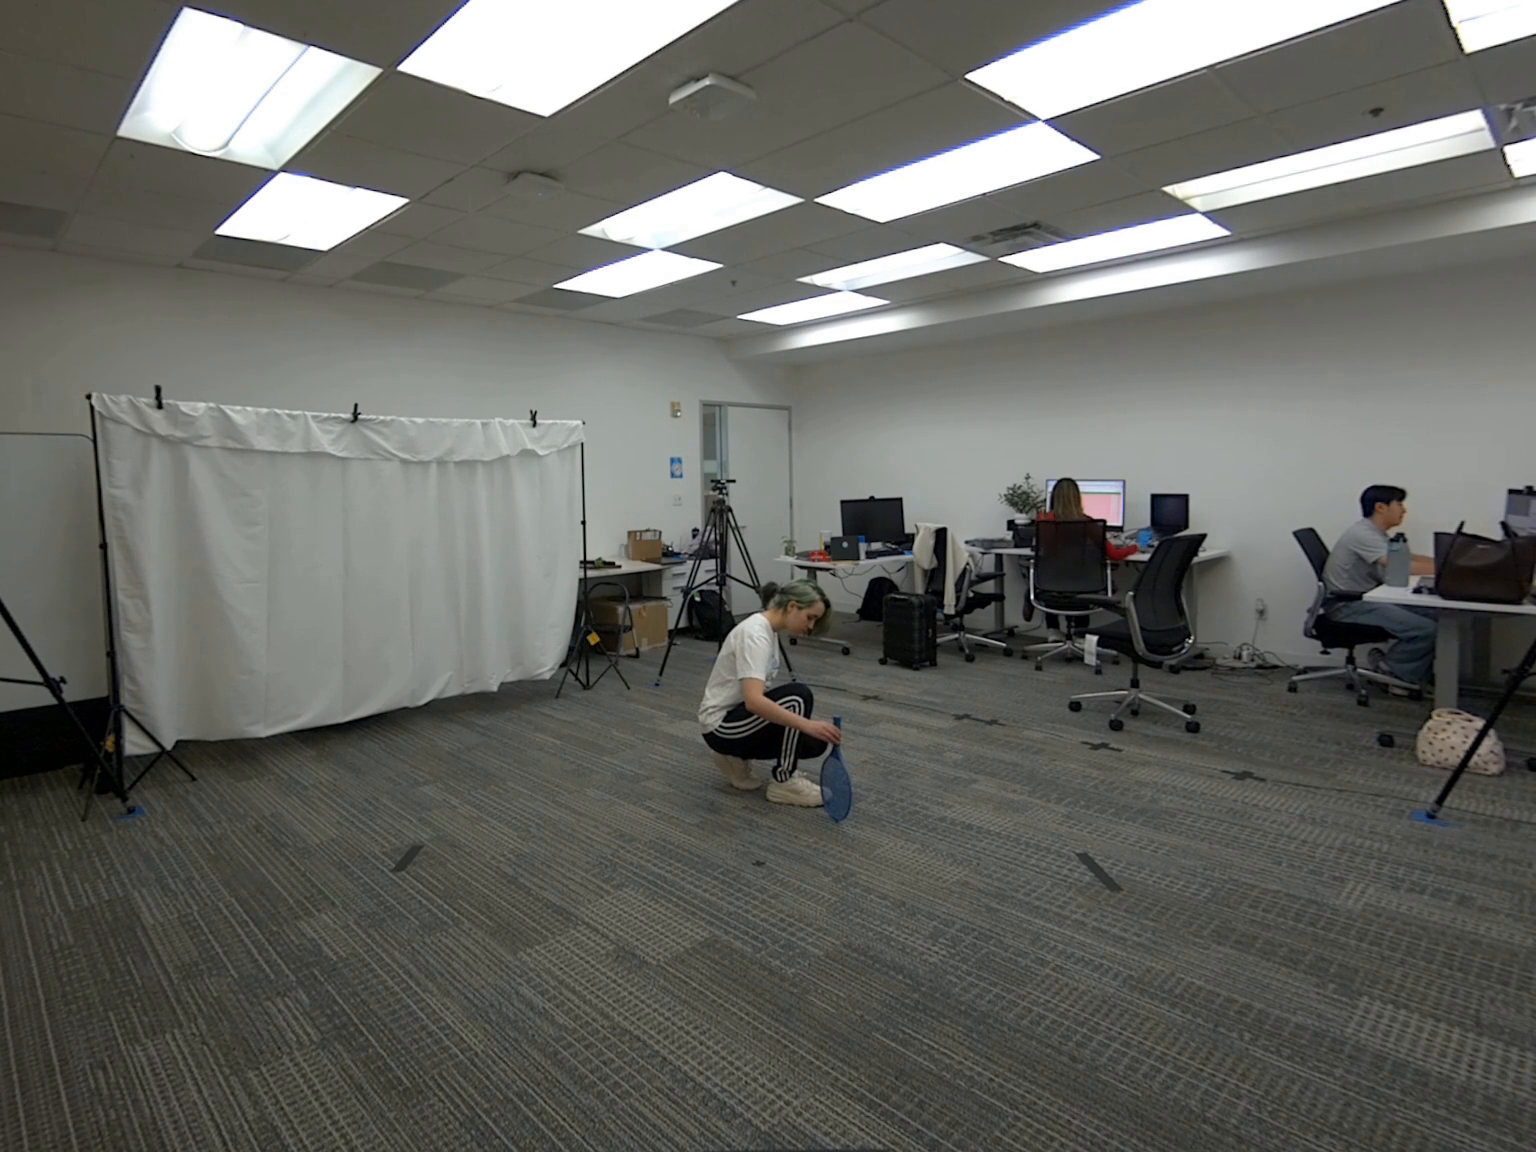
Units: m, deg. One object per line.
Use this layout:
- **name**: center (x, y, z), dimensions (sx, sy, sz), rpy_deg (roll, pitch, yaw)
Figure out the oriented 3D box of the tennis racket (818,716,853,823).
- **tennis racket**: center (0.283, 0.782, 3.474), dimensions (0.031, 0.430, 0.219), rpy_deg (-2, 7, -26)
